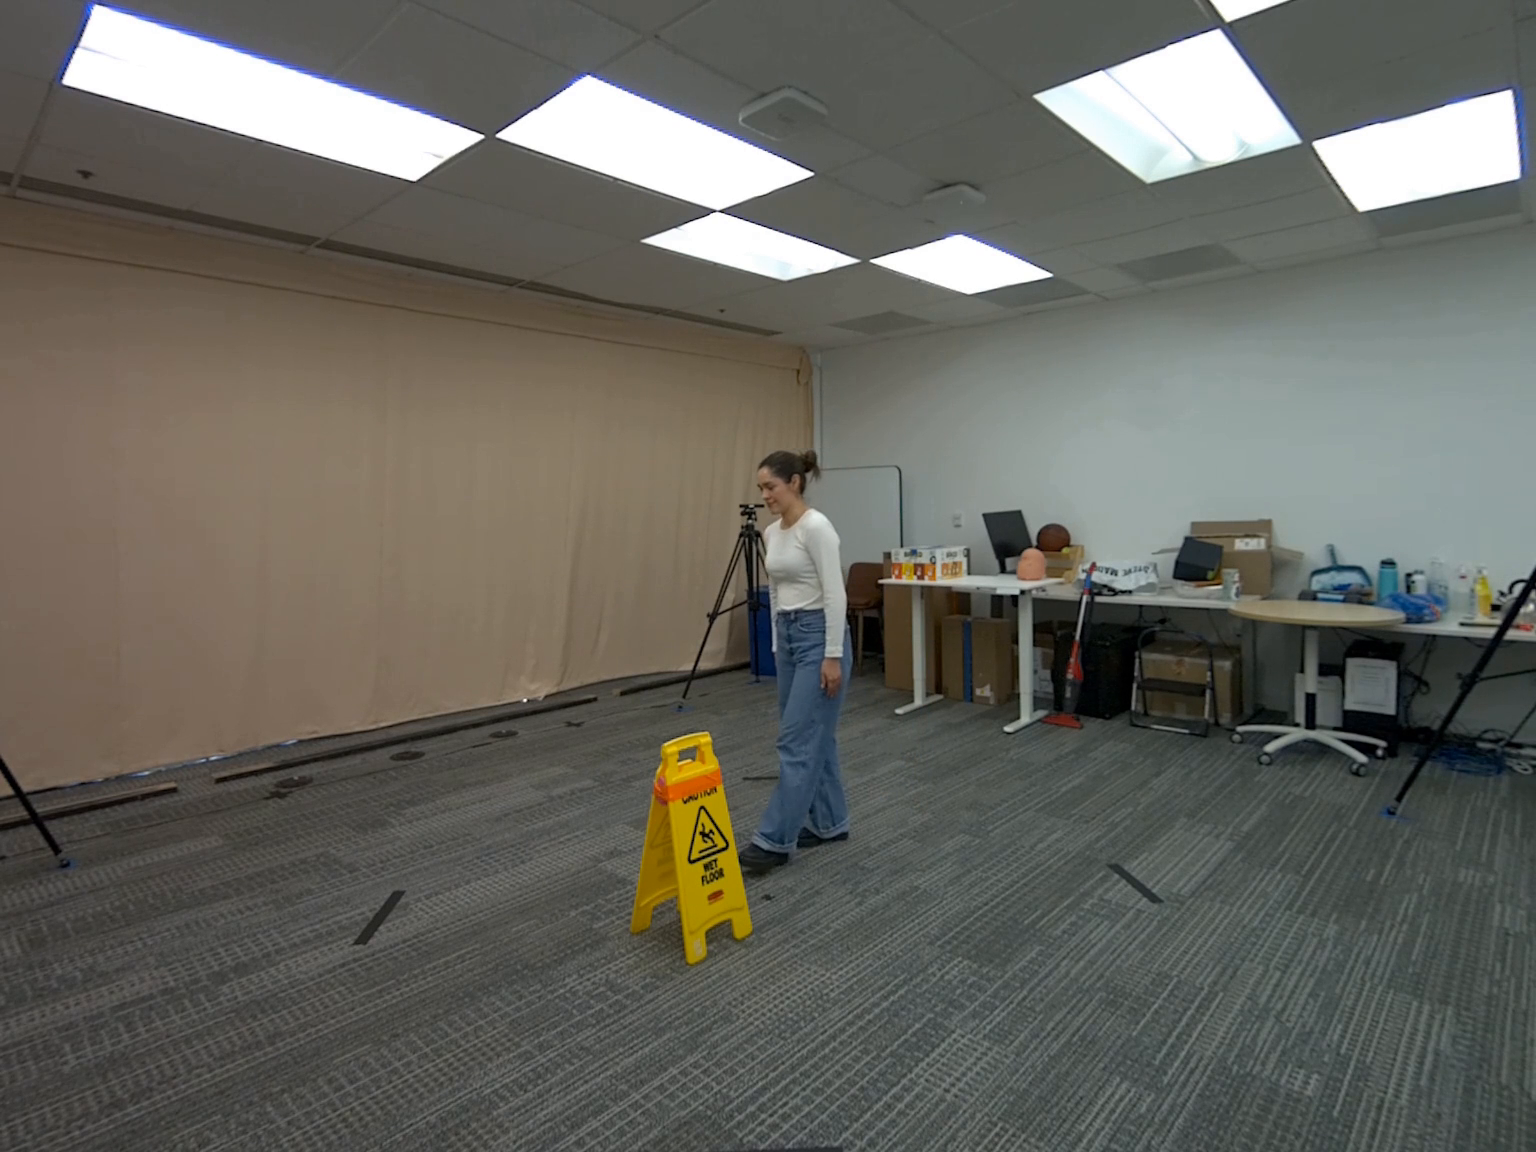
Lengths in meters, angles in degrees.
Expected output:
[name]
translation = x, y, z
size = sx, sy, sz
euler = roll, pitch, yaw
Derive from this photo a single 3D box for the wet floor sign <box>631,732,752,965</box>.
[wet floor sign]
translation = -0.258, 0.843, 2.728
size = 0.299, 0.645, 0.273
euler = 1, 3, 44
